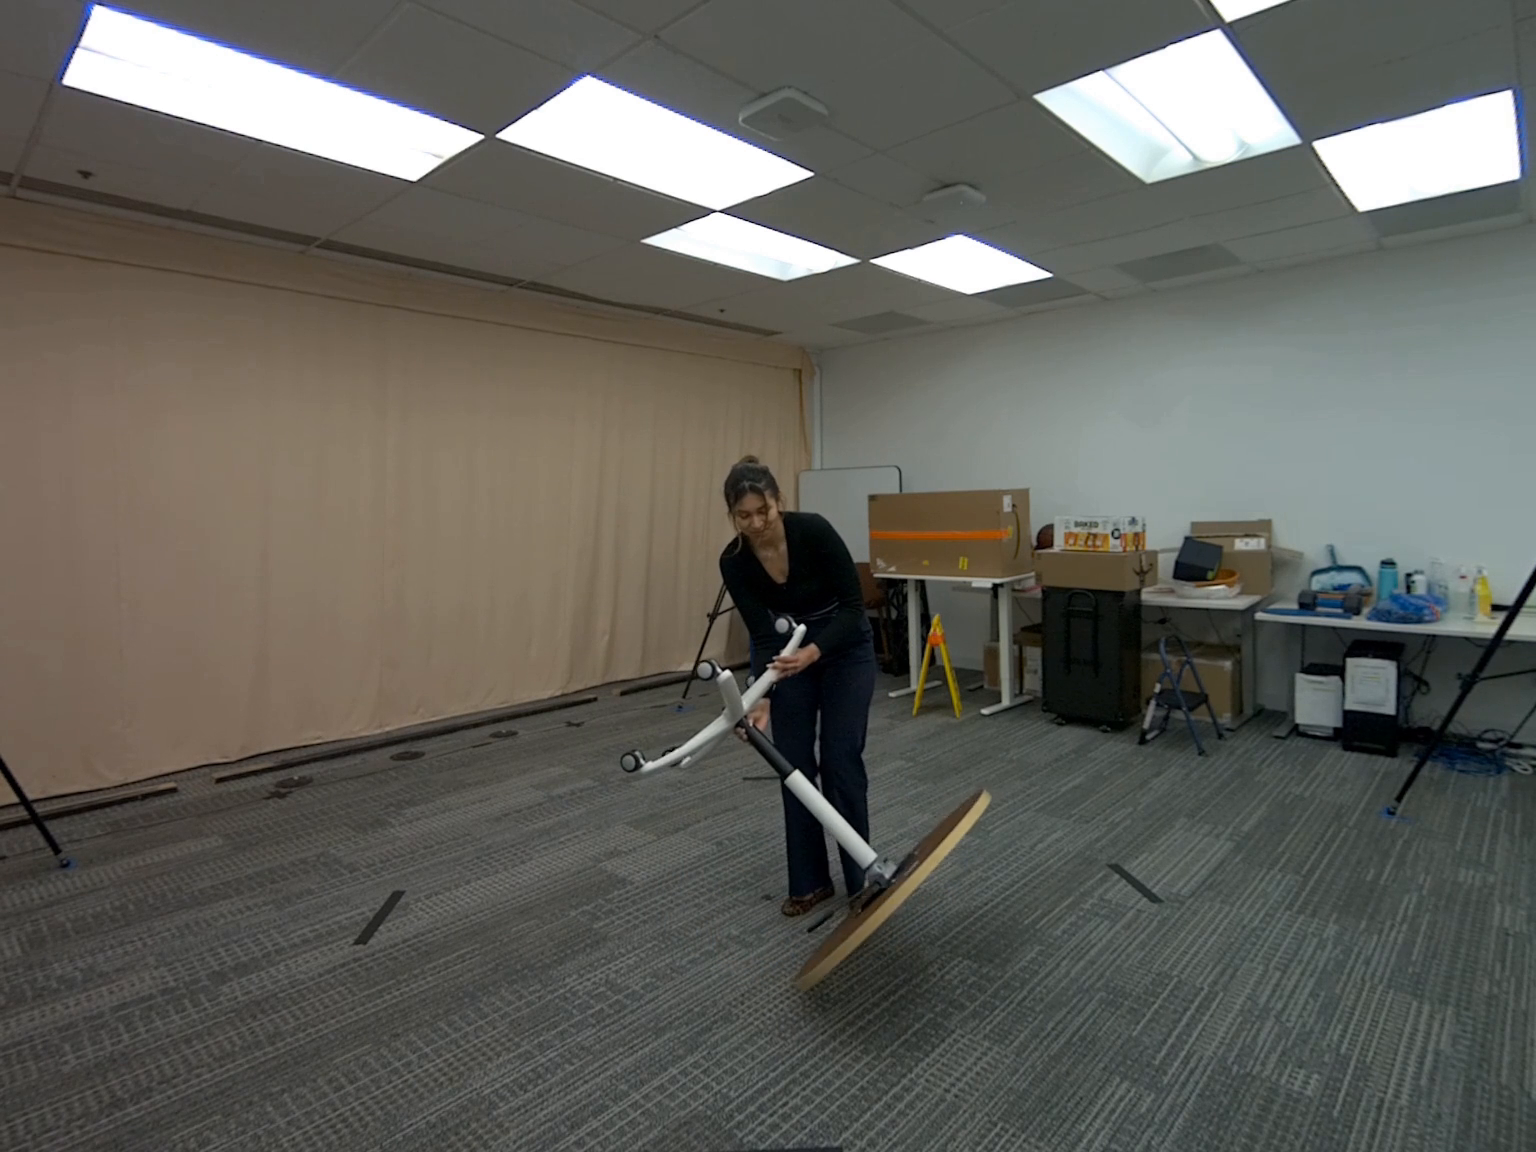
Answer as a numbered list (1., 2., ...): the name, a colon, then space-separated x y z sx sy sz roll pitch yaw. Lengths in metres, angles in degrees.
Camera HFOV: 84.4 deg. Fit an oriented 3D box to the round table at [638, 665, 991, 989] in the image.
1. round table: 0.096 0.627 2.537 0.811 0.766 0.745 45 22 18
